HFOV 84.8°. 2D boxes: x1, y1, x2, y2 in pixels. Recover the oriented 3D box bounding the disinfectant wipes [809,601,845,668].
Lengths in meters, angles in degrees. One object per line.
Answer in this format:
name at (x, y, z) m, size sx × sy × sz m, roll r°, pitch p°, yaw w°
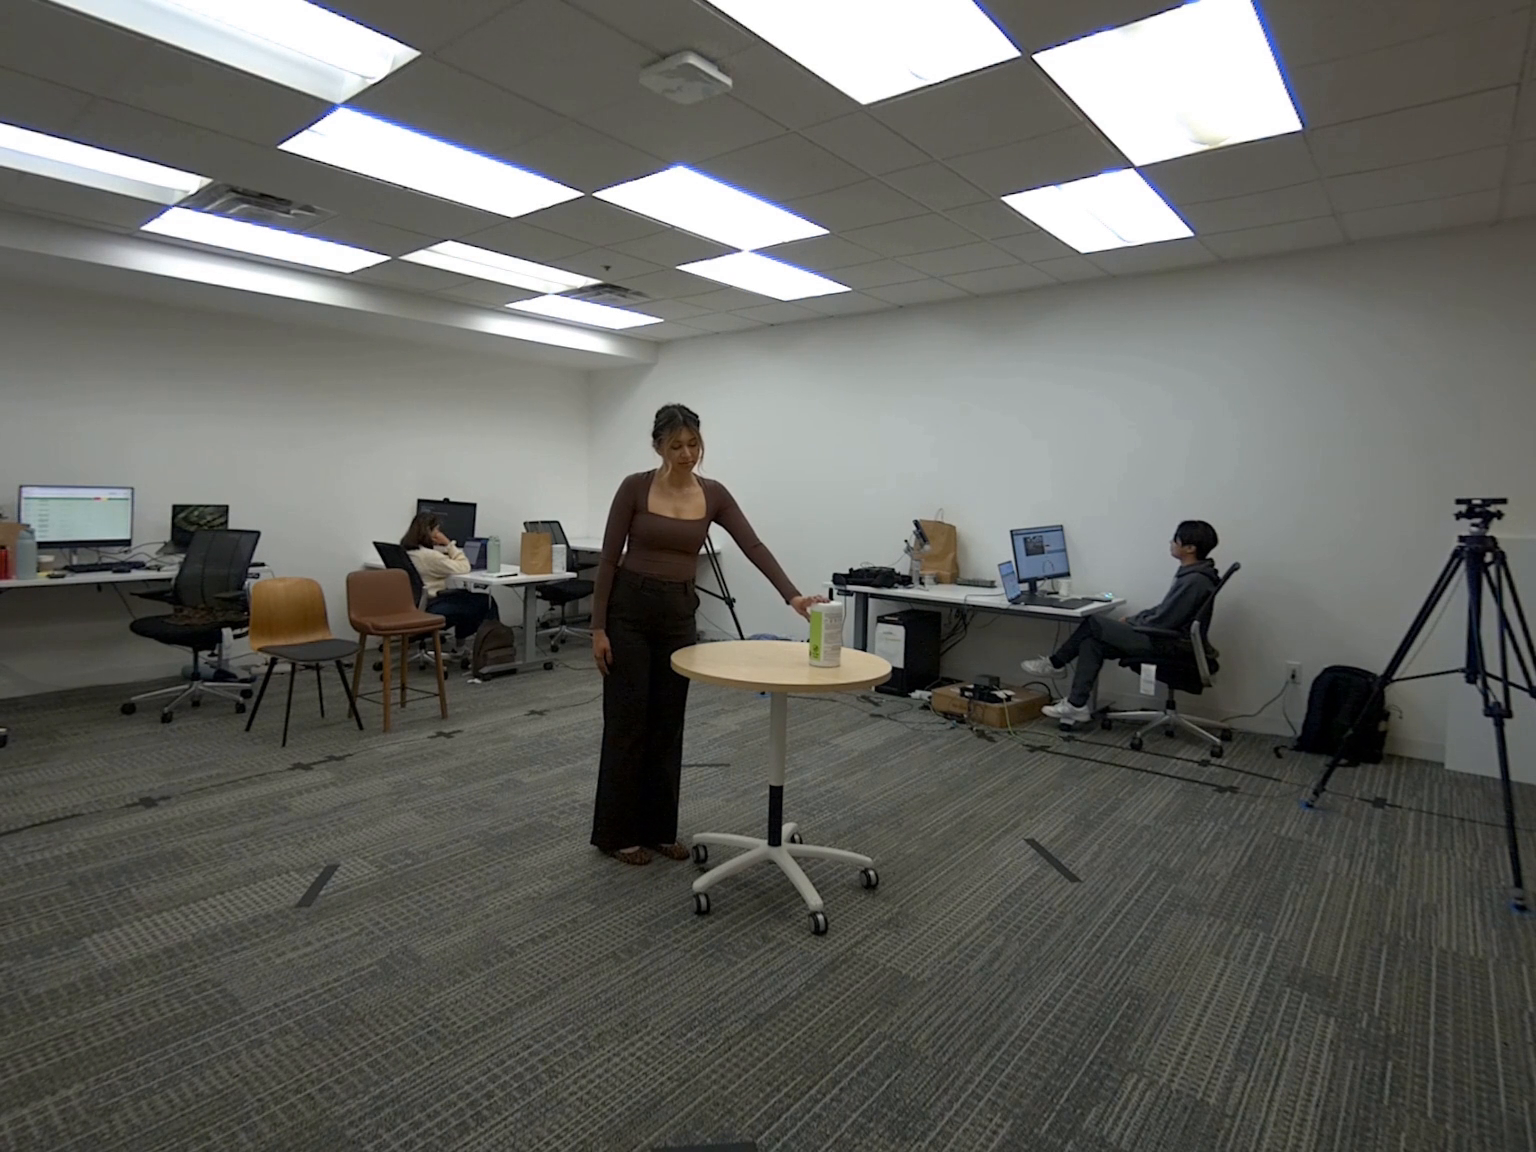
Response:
disinfectant wipes at (0.193, 0.196, 2.908) m, size 0.118 × 0.217 × 0.118 m, roll 0°, pitch 3°, yaw -2°
